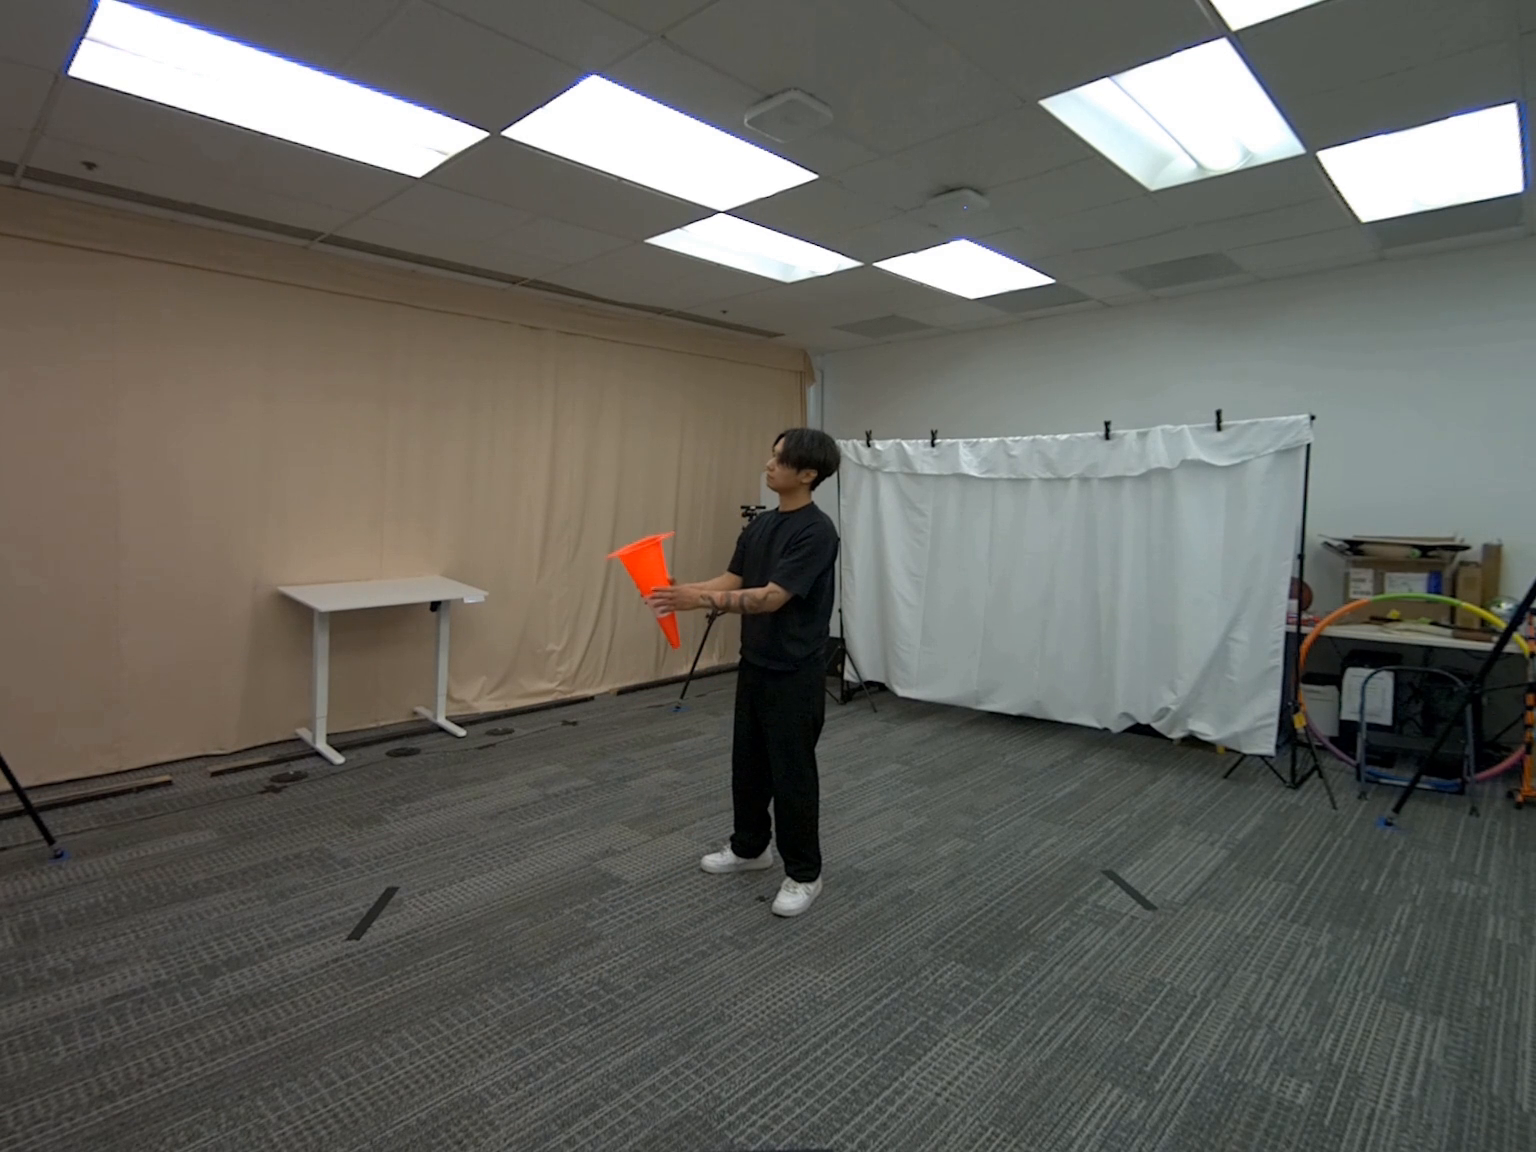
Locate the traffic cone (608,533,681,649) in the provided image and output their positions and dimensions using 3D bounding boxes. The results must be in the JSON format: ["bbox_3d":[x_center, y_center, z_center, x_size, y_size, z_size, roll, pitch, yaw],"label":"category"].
[{"bbox_3d":[-0.379,0.077,2.882,0.200,0.380,0.210,-25,11,-28],"label":"traffic cone"}]
